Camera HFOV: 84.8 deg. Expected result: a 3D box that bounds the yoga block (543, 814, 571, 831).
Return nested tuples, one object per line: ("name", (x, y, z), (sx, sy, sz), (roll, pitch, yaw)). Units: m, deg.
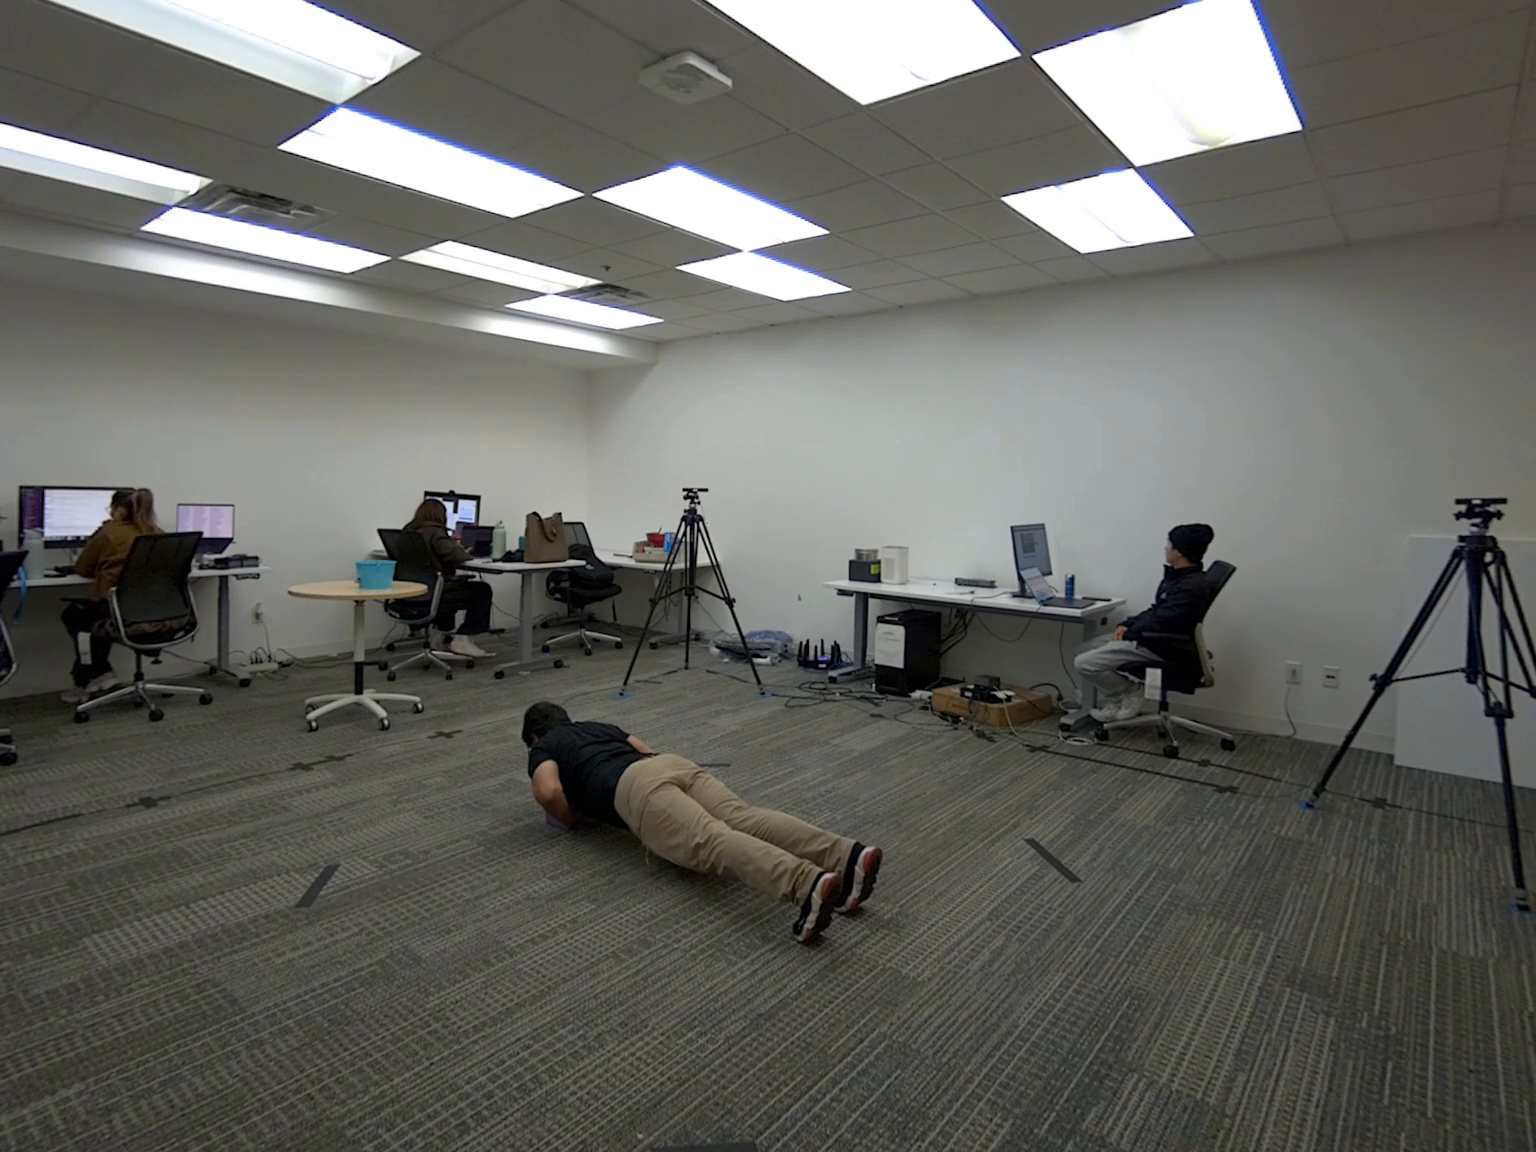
("yoga block", (-0.803, 0.976, 3.564), (0.154, 0.076, 0.222), (8, 7, 37))
